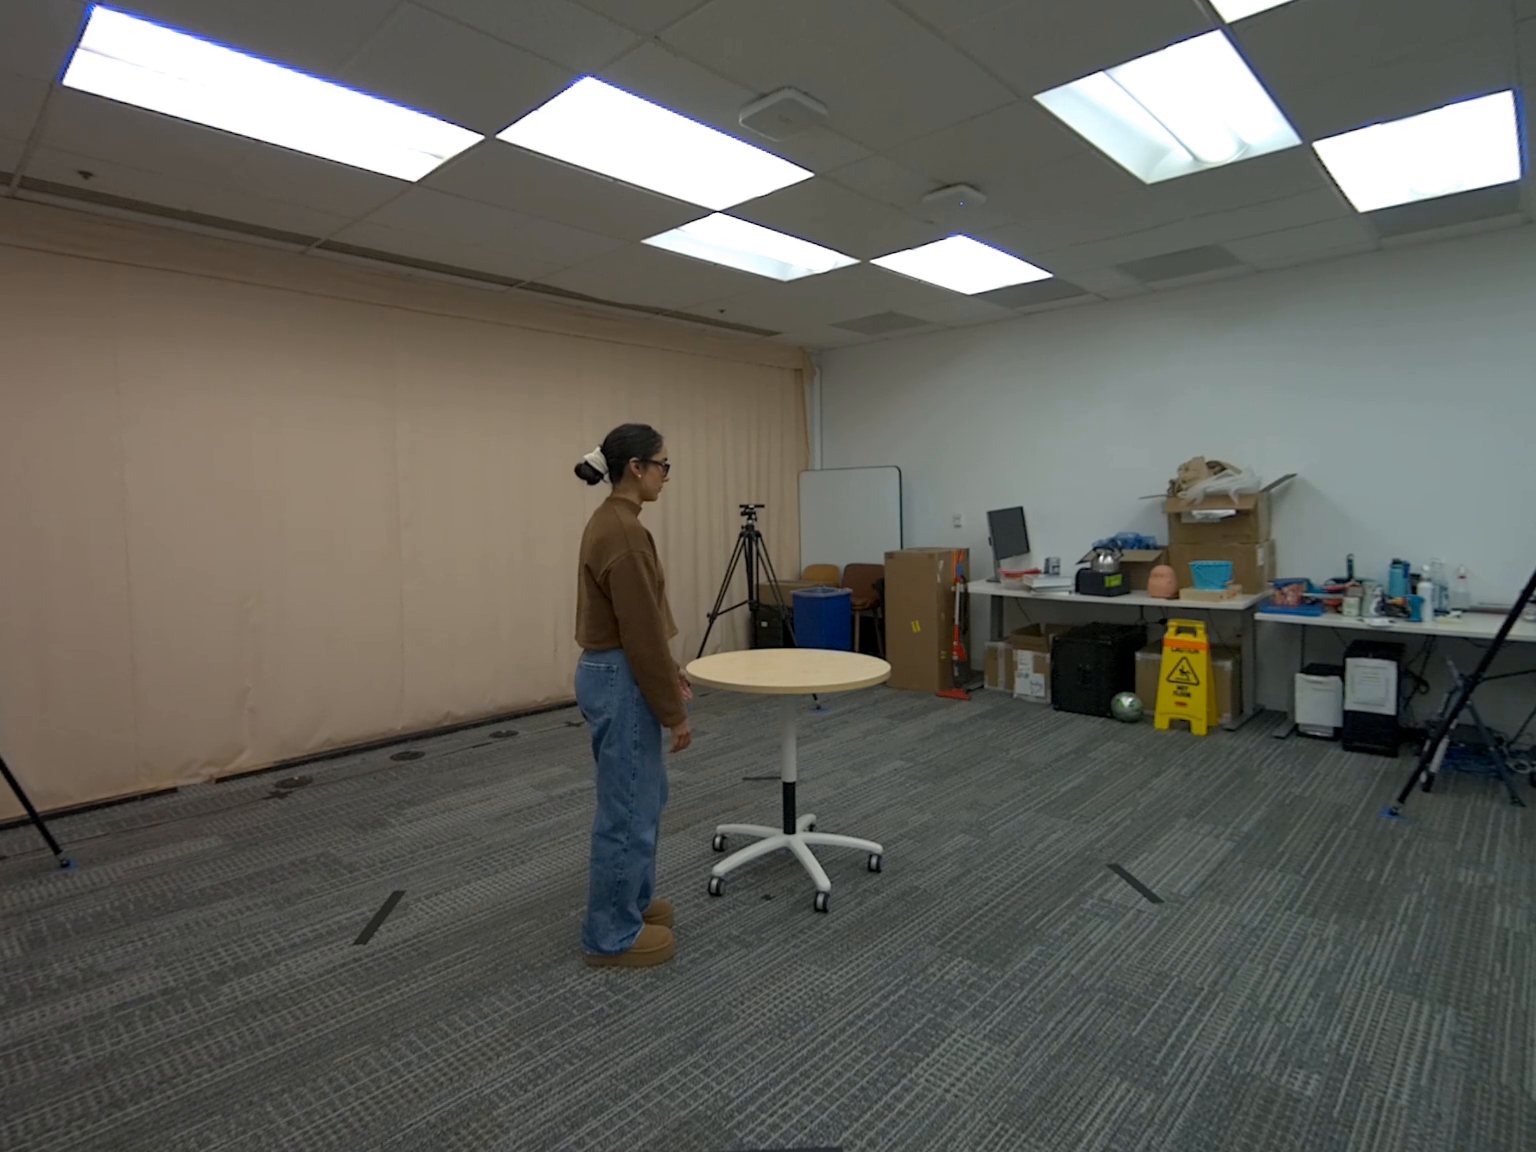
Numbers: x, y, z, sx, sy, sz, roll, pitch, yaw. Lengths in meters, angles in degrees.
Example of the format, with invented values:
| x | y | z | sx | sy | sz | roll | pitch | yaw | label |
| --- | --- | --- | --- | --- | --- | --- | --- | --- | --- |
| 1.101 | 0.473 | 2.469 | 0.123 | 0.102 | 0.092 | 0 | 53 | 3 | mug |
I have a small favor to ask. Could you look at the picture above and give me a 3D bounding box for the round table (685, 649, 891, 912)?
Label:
| x | y | z | sx | sy | sz | roll | pitch | yaw | label |
| --- | --- | --- | --- | --- | --- | --- | --- | --- | --- |
| 0.084 | 0.729 | 3.179 | 0.784 | 0.785 | 0.787 | -1 | 3 | -2 | round table |
